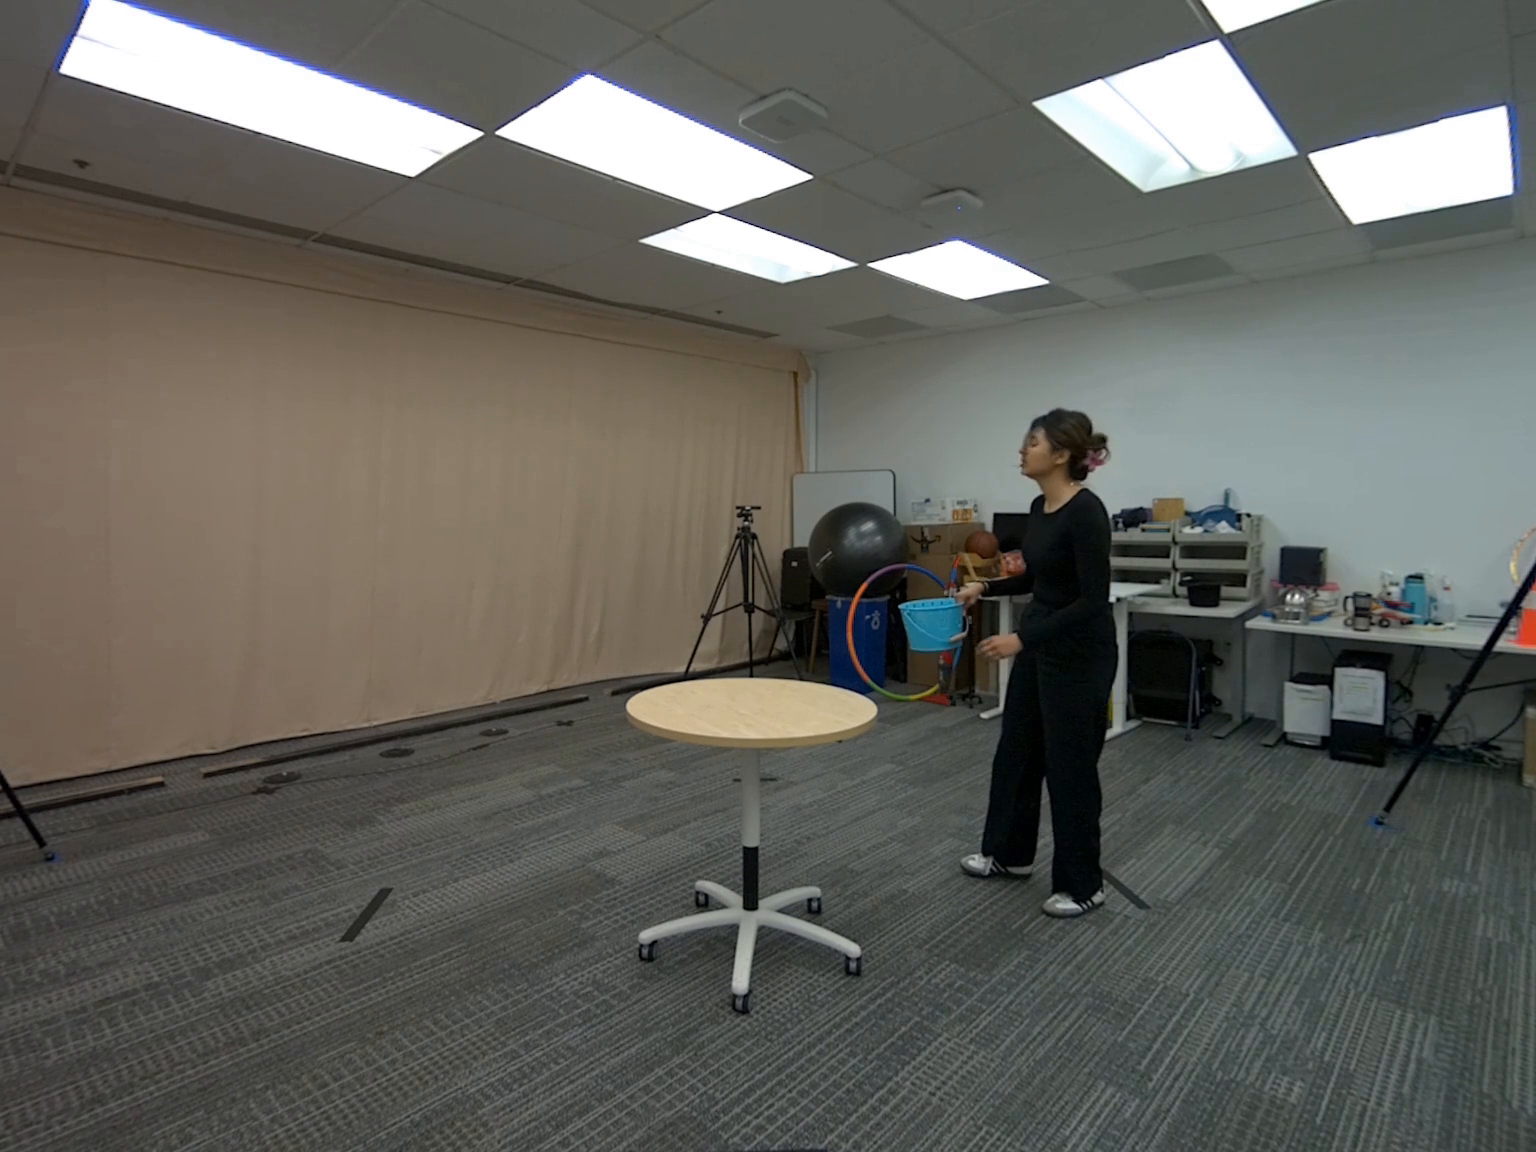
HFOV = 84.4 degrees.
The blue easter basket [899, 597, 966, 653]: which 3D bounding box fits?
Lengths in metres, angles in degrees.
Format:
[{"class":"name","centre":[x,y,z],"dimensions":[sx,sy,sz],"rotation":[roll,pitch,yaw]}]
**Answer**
[{"class":"blue easter basket","centre":[0.616,0.185,3.000],"dimensions":[0.243,0.156,0.244],"rotation":[-5,2,-2]}]
